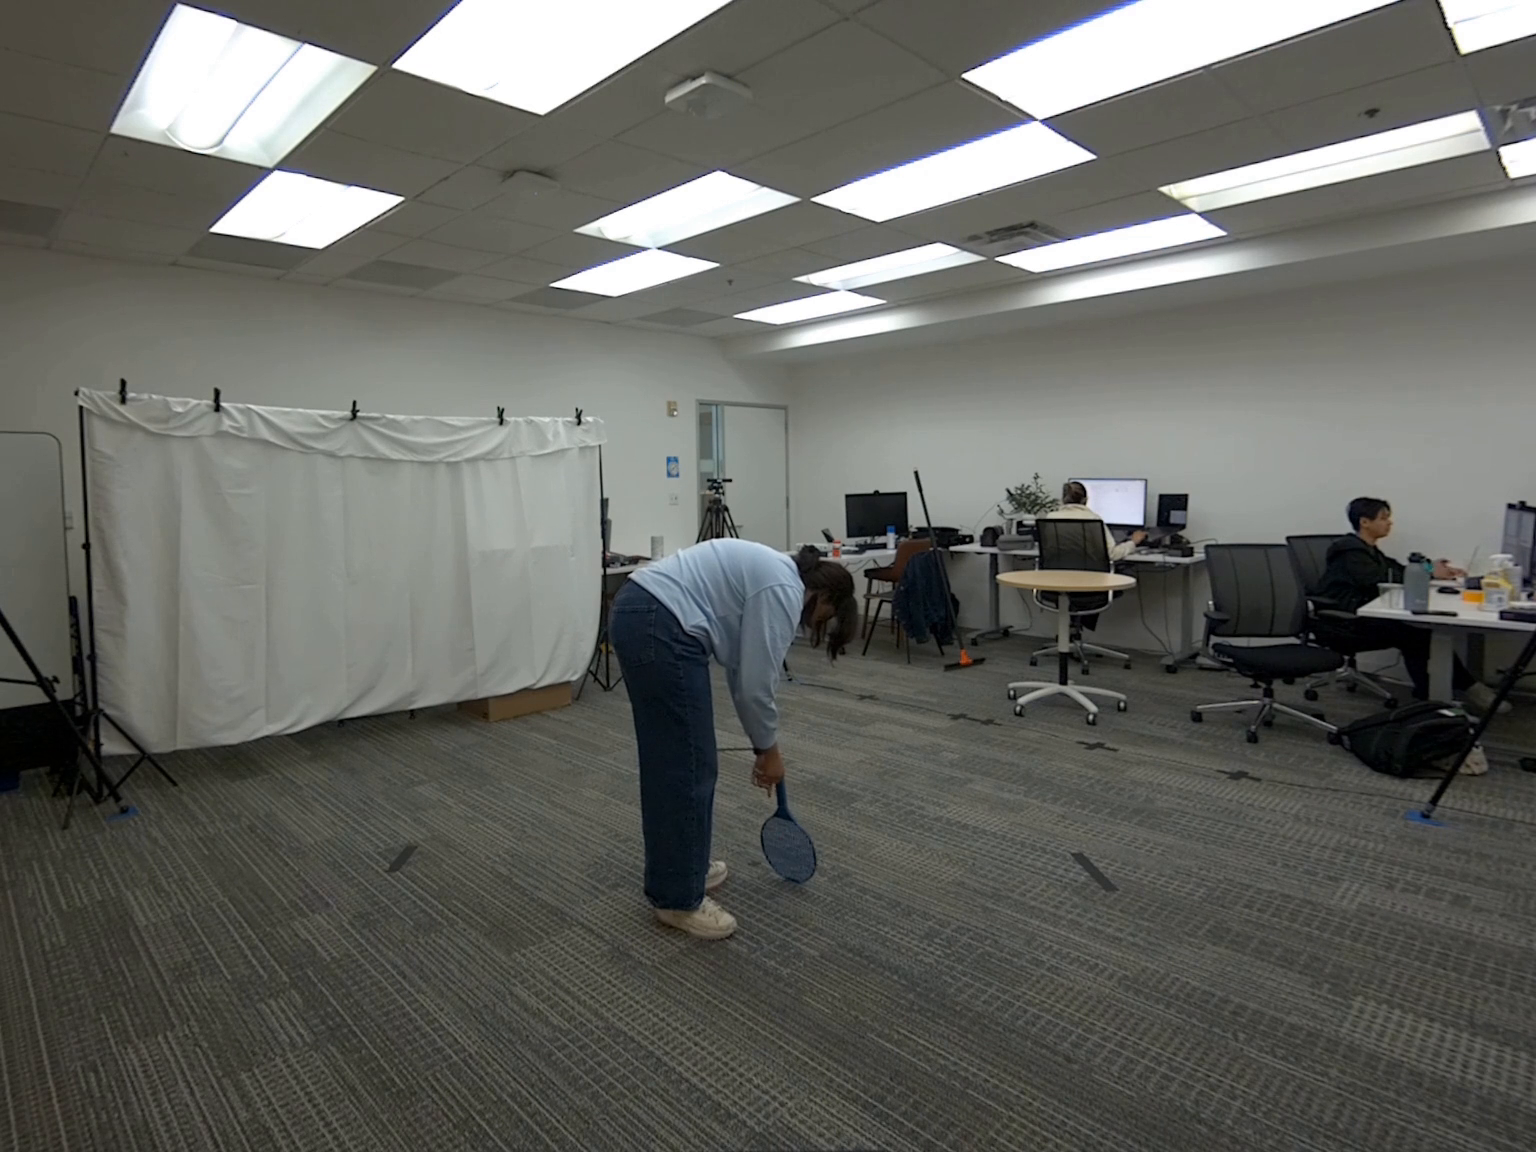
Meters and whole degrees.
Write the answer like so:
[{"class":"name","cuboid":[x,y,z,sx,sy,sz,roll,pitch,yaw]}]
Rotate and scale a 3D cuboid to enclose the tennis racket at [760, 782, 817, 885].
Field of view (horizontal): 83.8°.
[{"class":"tennis racket","cuboid":[0.056,0.859,2.902,0.220,0.425,0.031,3,20,34]}]
